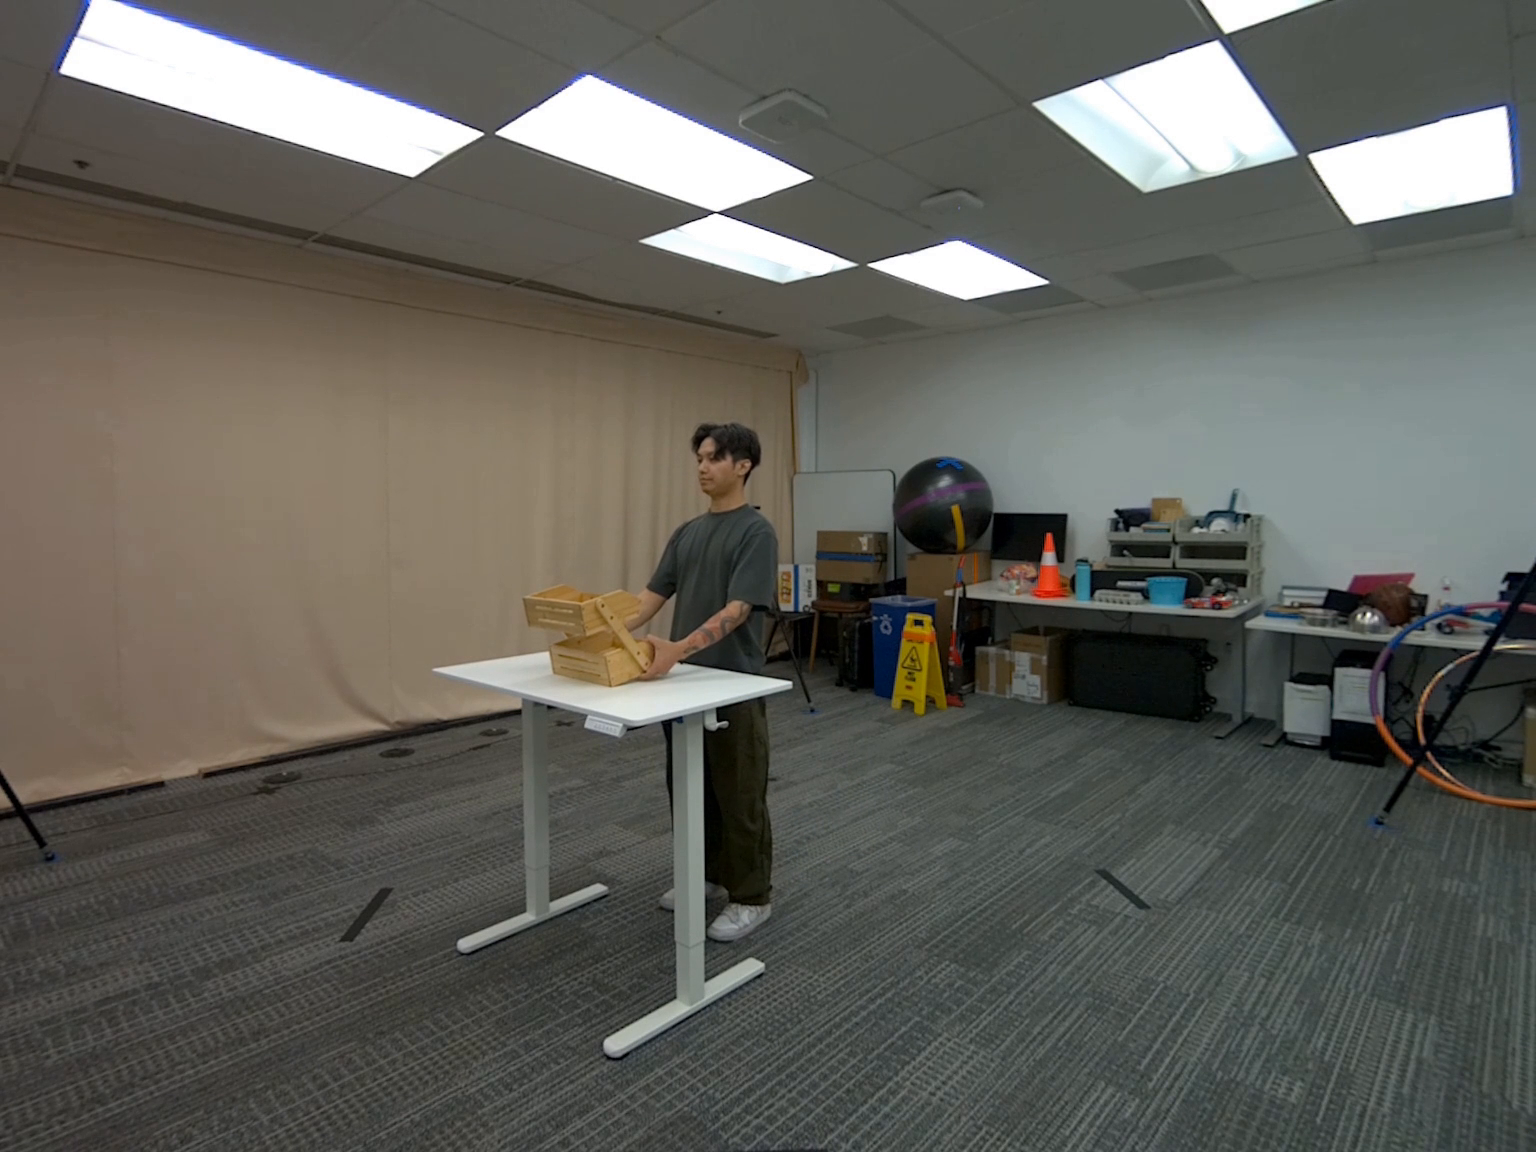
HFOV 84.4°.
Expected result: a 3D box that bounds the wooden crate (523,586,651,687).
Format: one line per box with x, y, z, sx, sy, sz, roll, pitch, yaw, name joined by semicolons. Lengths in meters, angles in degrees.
-0.507;0.156;2.519;0.335;0.271;0.295;2;16;45;wooden crate
